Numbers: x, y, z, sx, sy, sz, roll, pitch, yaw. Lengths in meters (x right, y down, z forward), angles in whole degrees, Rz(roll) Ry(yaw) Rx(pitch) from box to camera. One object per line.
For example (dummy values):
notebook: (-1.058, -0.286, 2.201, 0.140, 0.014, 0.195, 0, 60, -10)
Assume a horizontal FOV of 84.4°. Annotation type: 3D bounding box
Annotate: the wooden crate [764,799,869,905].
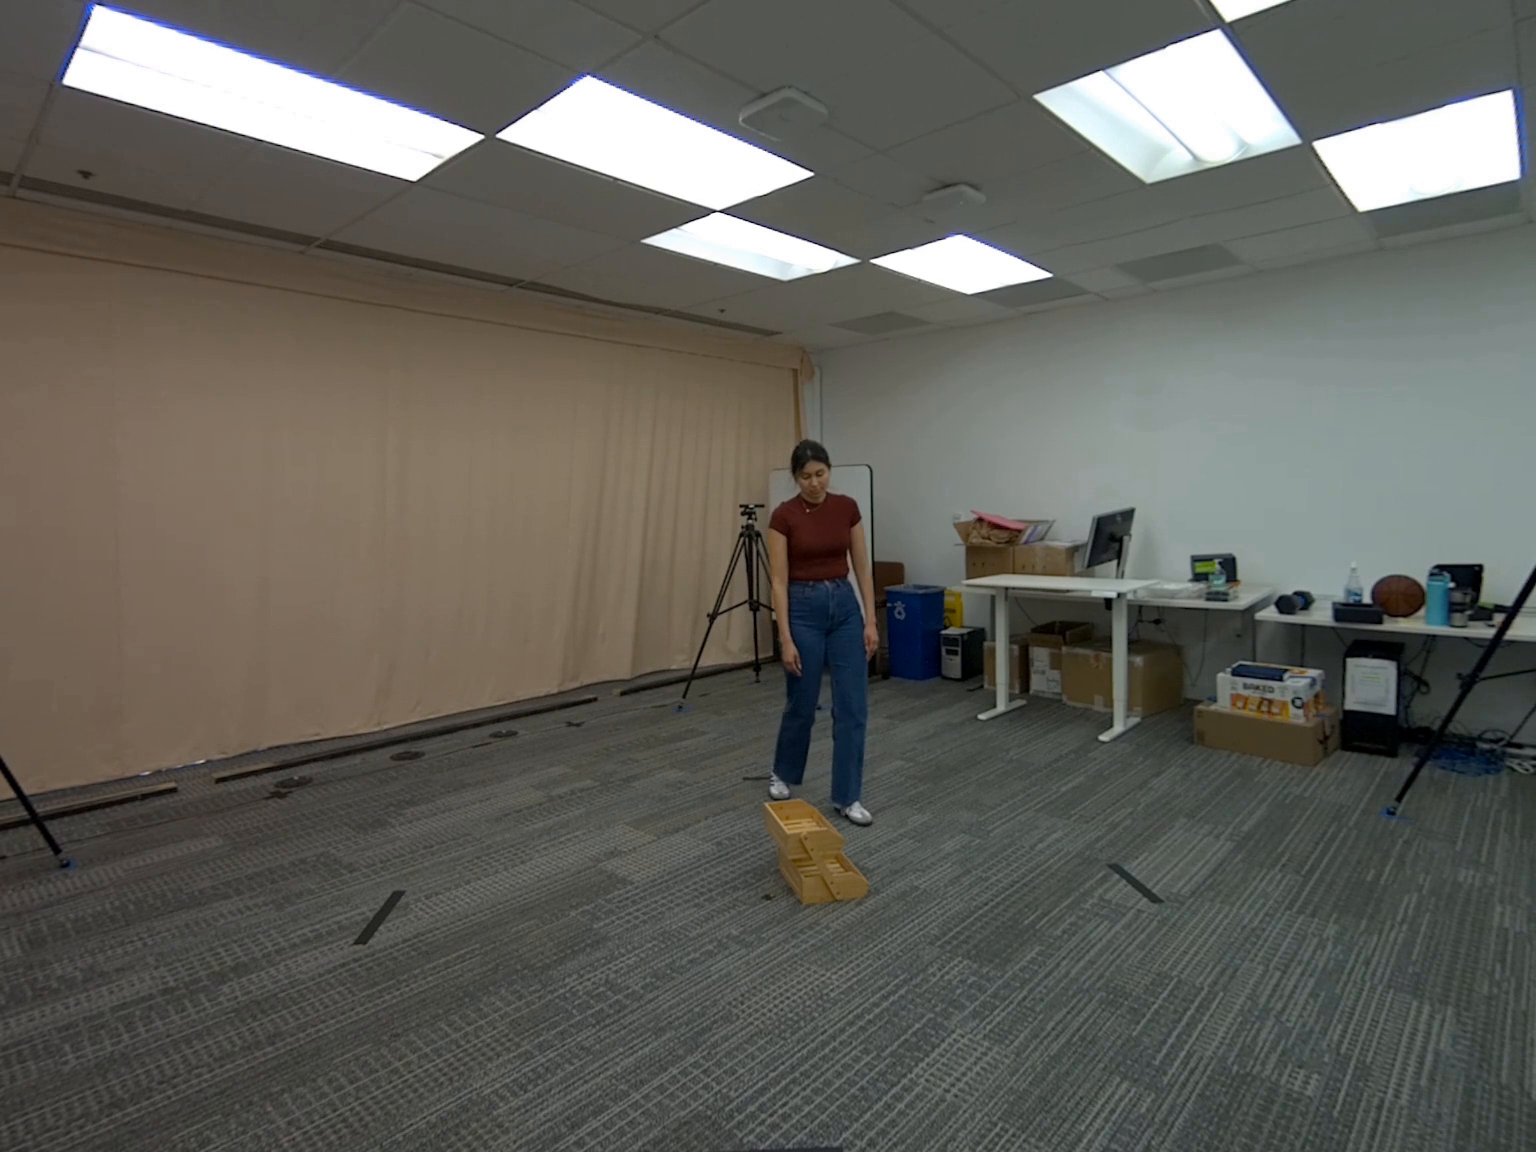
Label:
wooden crate: (0.177, 0.992, 3.082, 0.297, 0.273, 0.330, -2, 4, -15)
